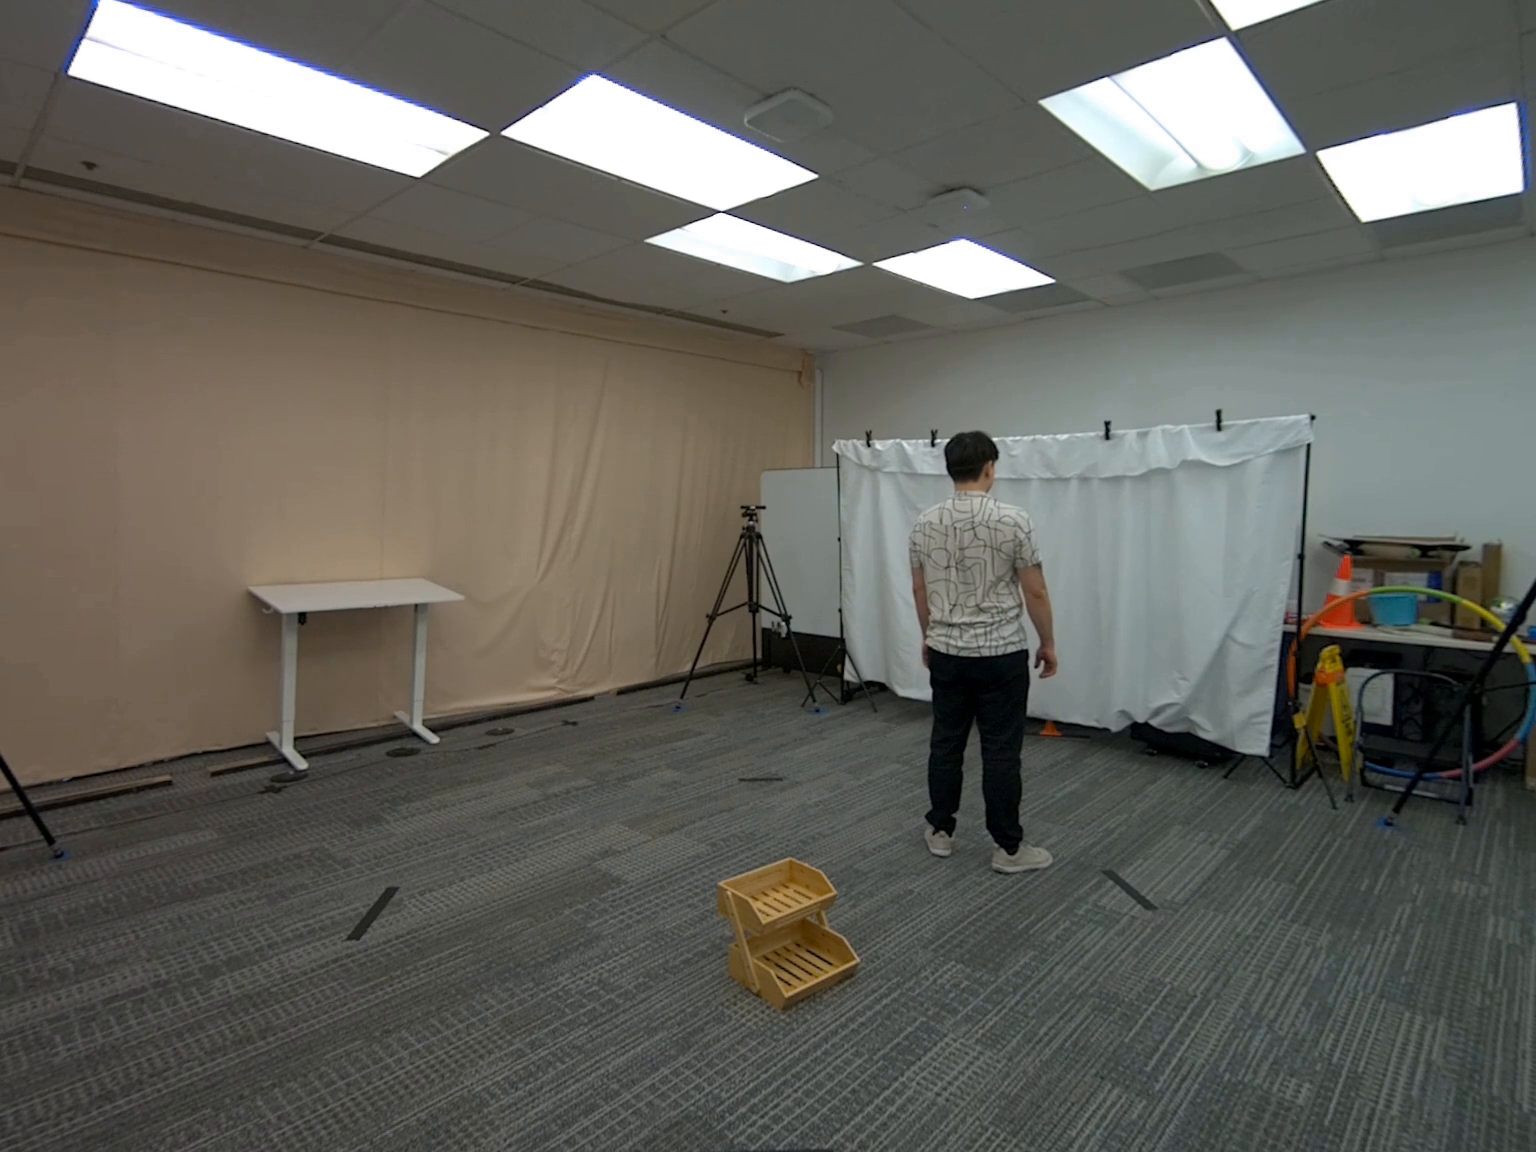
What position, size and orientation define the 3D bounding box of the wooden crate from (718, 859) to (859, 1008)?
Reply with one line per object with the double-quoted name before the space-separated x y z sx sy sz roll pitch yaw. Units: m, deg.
"wooden crate" 0.065 1.052 2.501 0.314 0.273 0.312 -3 4 -40
